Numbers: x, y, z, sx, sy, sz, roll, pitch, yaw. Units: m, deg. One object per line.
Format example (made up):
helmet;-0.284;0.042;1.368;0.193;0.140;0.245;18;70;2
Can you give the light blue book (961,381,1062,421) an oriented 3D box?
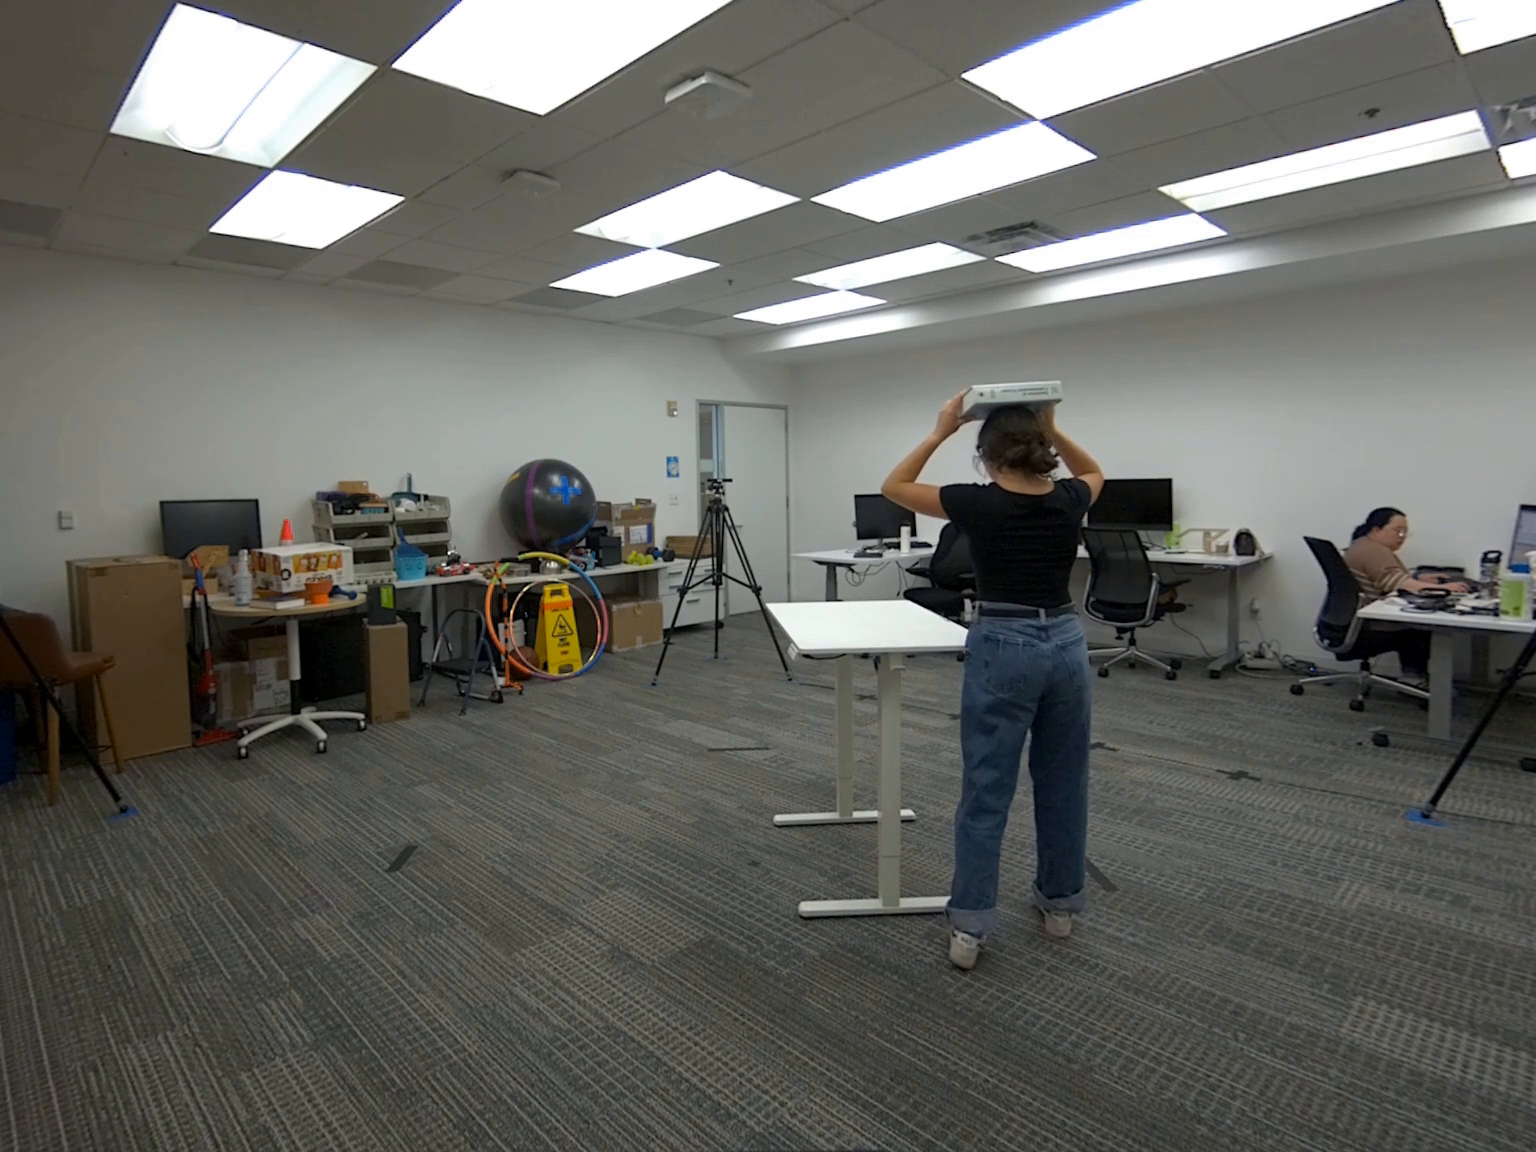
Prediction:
light blue book;0.723;-0.524;2.555;0.260;0.059;0.191;-2;-4;-4
